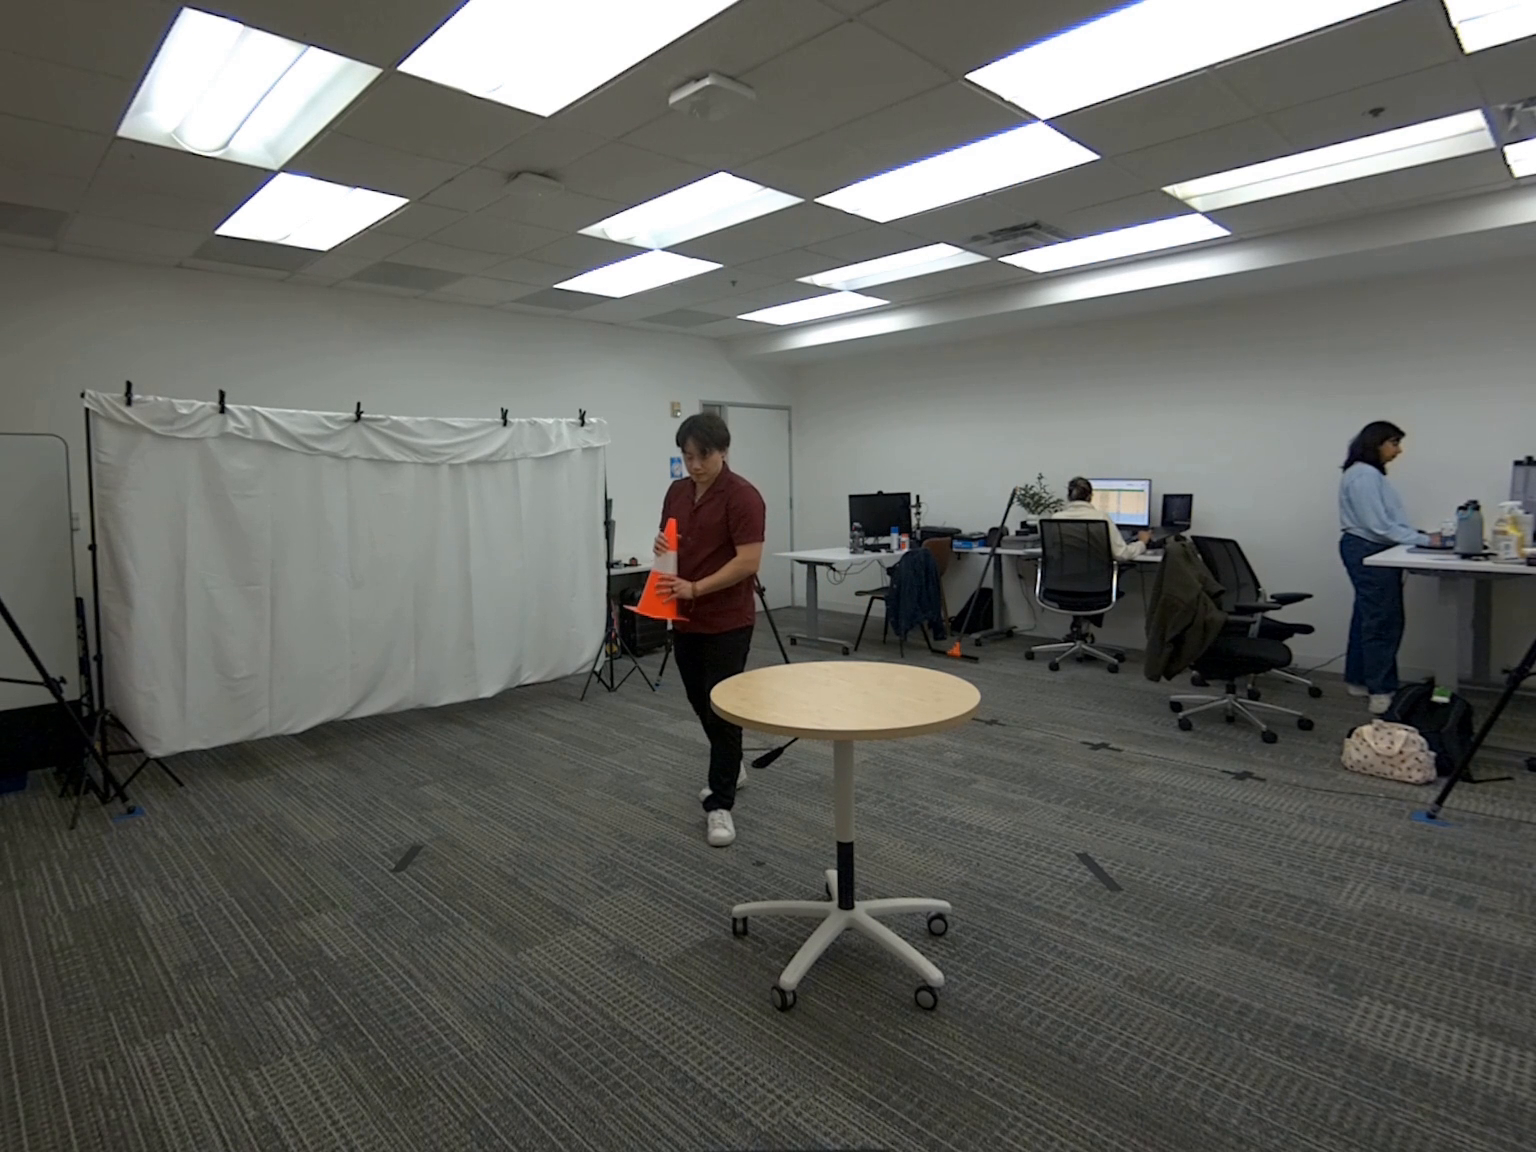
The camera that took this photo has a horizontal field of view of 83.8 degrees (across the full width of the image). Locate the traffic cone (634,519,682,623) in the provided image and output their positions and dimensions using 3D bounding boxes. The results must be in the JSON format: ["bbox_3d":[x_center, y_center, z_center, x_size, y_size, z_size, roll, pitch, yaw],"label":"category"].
[{"bbox_3d":[-0.407,-0.032,3.389,0.197,0.383,0.212,9,4,-44],"label":"traffic cone"}]
